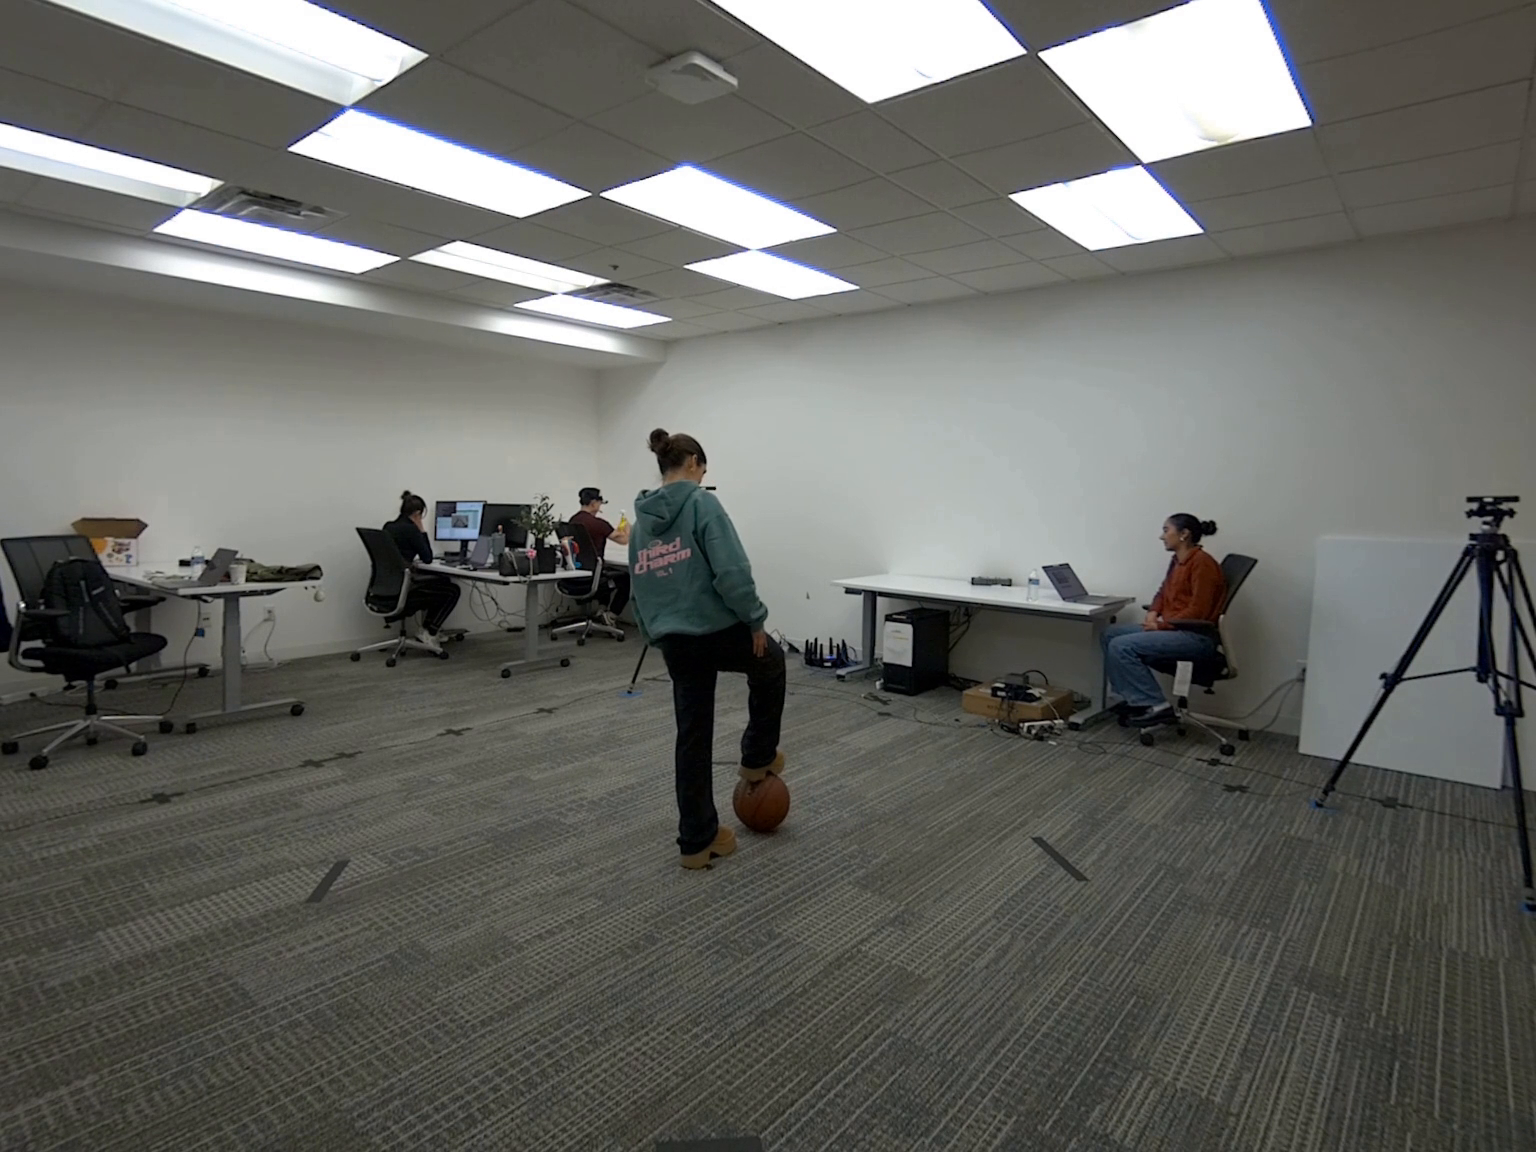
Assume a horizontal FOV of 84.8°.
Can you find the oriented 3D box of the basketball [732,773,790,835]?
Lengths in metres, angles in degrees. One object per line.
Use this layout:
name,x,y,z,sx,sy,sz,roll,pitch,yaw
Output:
basketball,-0.033,0.914,3.481,0.236,0.235,0.237,1,4,-2
